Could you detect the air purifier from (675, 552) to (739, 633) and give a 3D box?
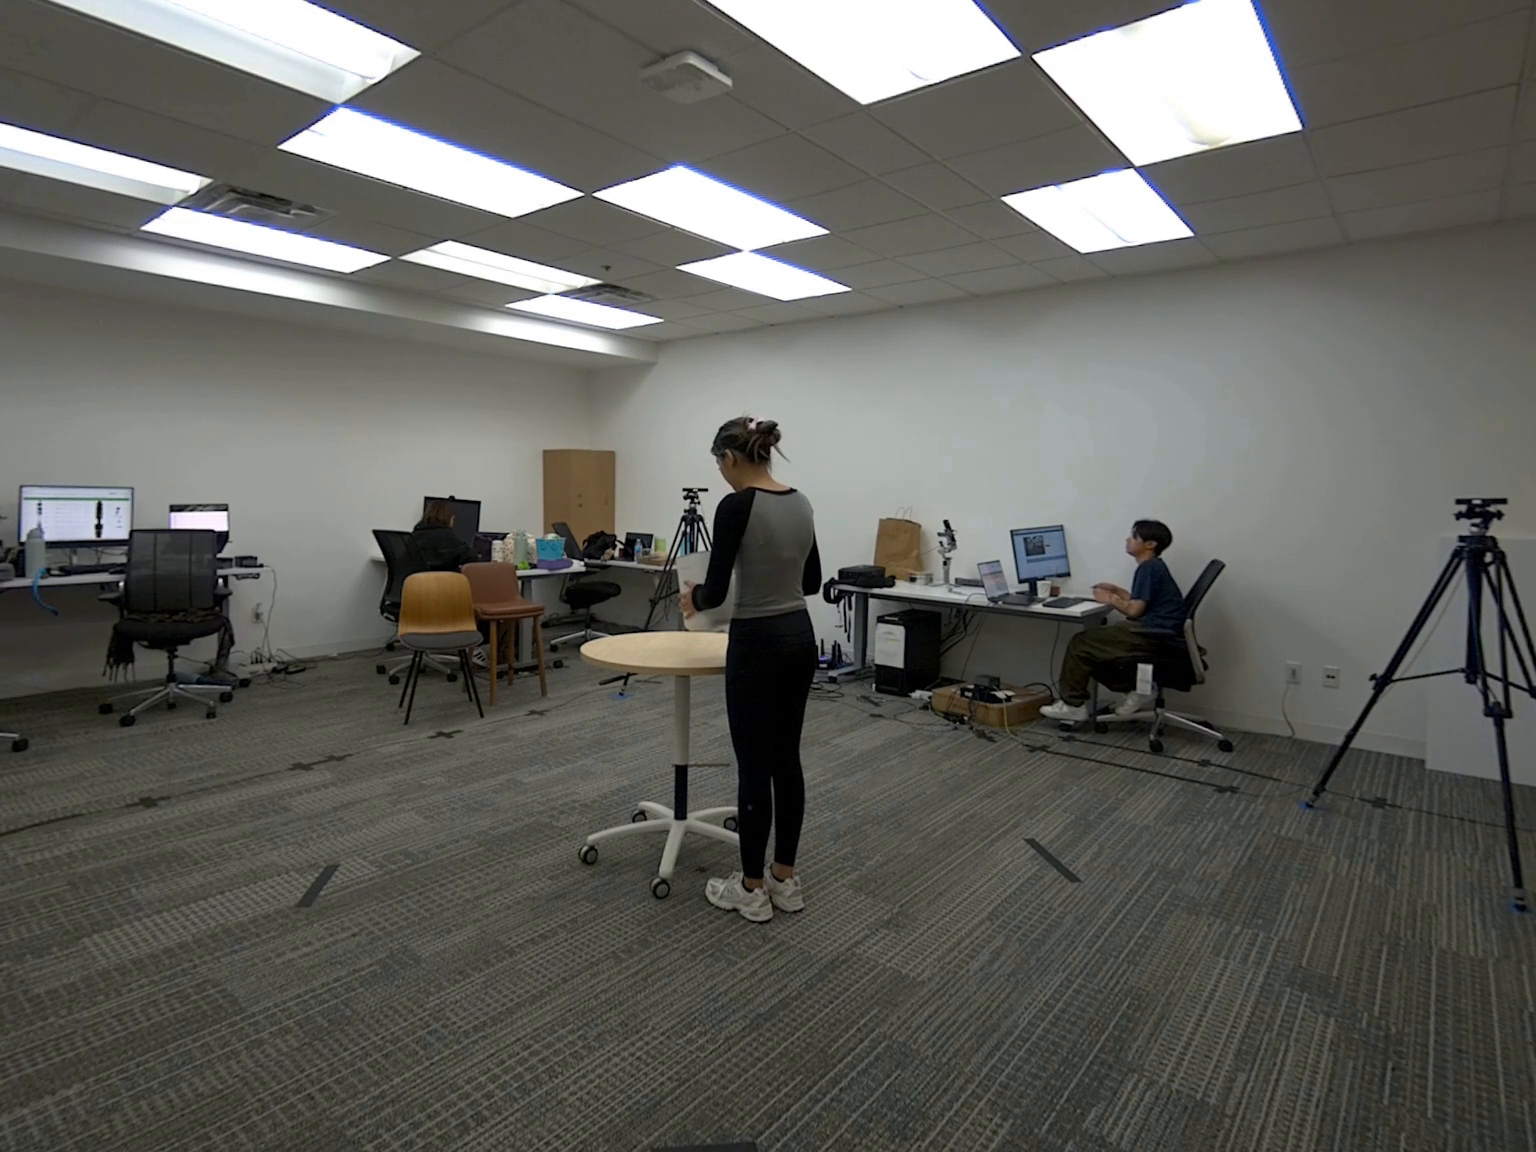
[{"bbox_3d":[-0.227,0.052,3.024,0.175,0.268,0.166,-14,-11,41],"label":"air purifier"}]
